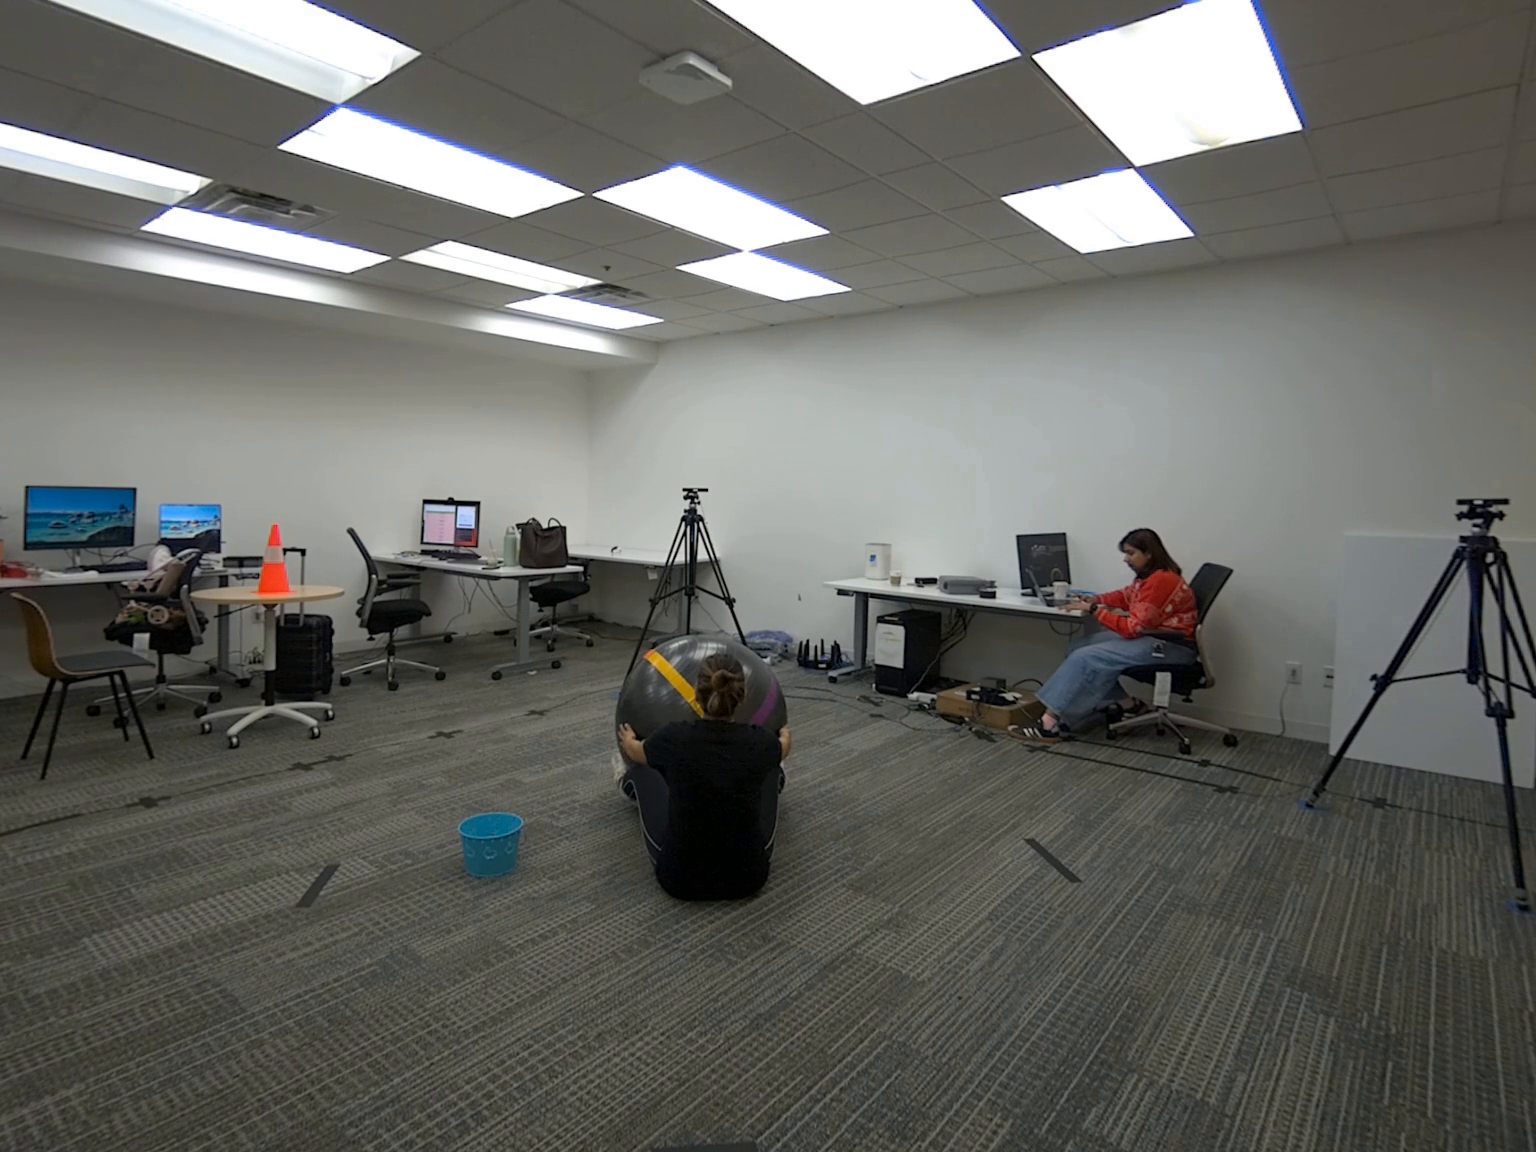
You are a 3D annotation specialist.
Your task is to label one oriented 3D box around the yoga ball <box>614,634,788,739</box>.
[{"bbox_3d":[-0.302,0.638,3.735,0.757,0.756,0.762,1,4,-2],"label":"yoga ball"}]
